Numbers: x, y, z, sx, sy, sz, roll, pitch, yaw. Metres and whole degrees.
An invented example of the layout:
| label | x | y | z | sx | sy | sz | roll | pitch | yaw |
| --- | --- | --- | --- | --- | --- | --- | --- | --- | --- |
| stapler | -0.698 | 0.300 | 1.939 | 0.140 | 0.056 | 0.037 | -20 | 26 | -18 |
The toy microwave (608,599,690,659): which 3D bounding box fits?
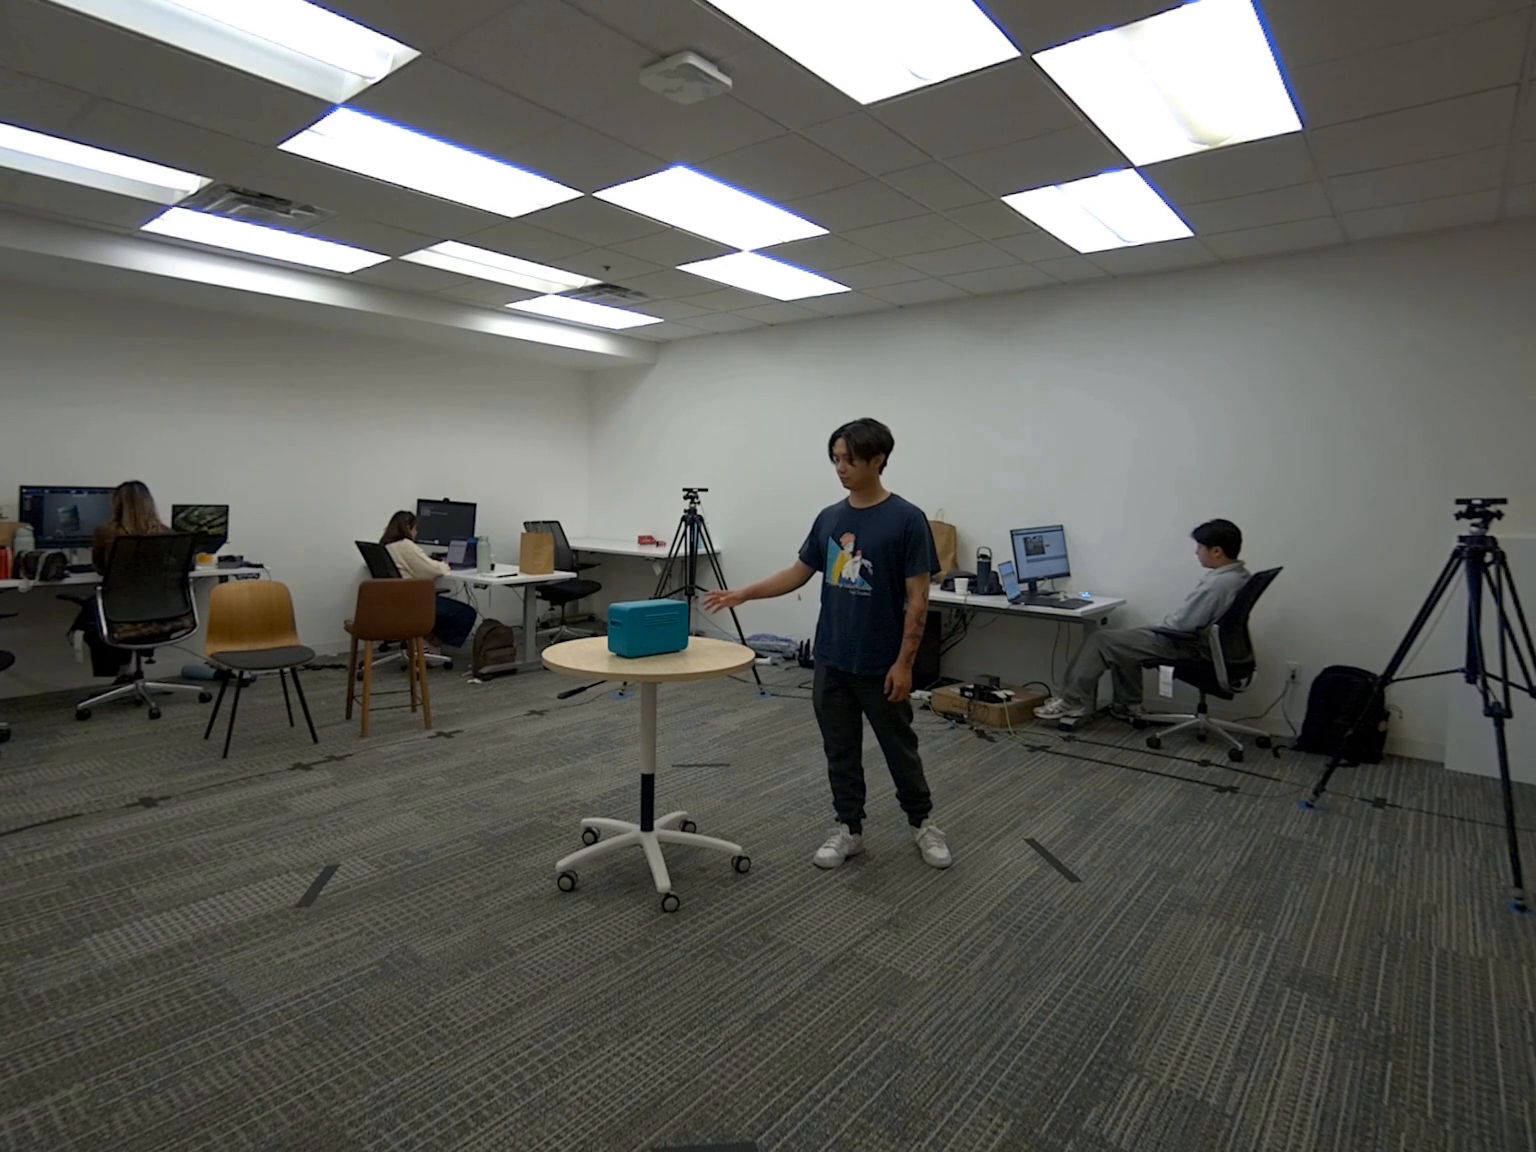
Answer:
| label | x | y | z | sx | sy | sz | roll | pitch | yaw |
| --- | --- | --- | --- | --- | --- | --- | --- | --- | --- |
| toy microwave | -0.447 | 0.182 | 3.069 | 0.277 | 0.183 | 0.157 | -3 | 5 | -42 |
